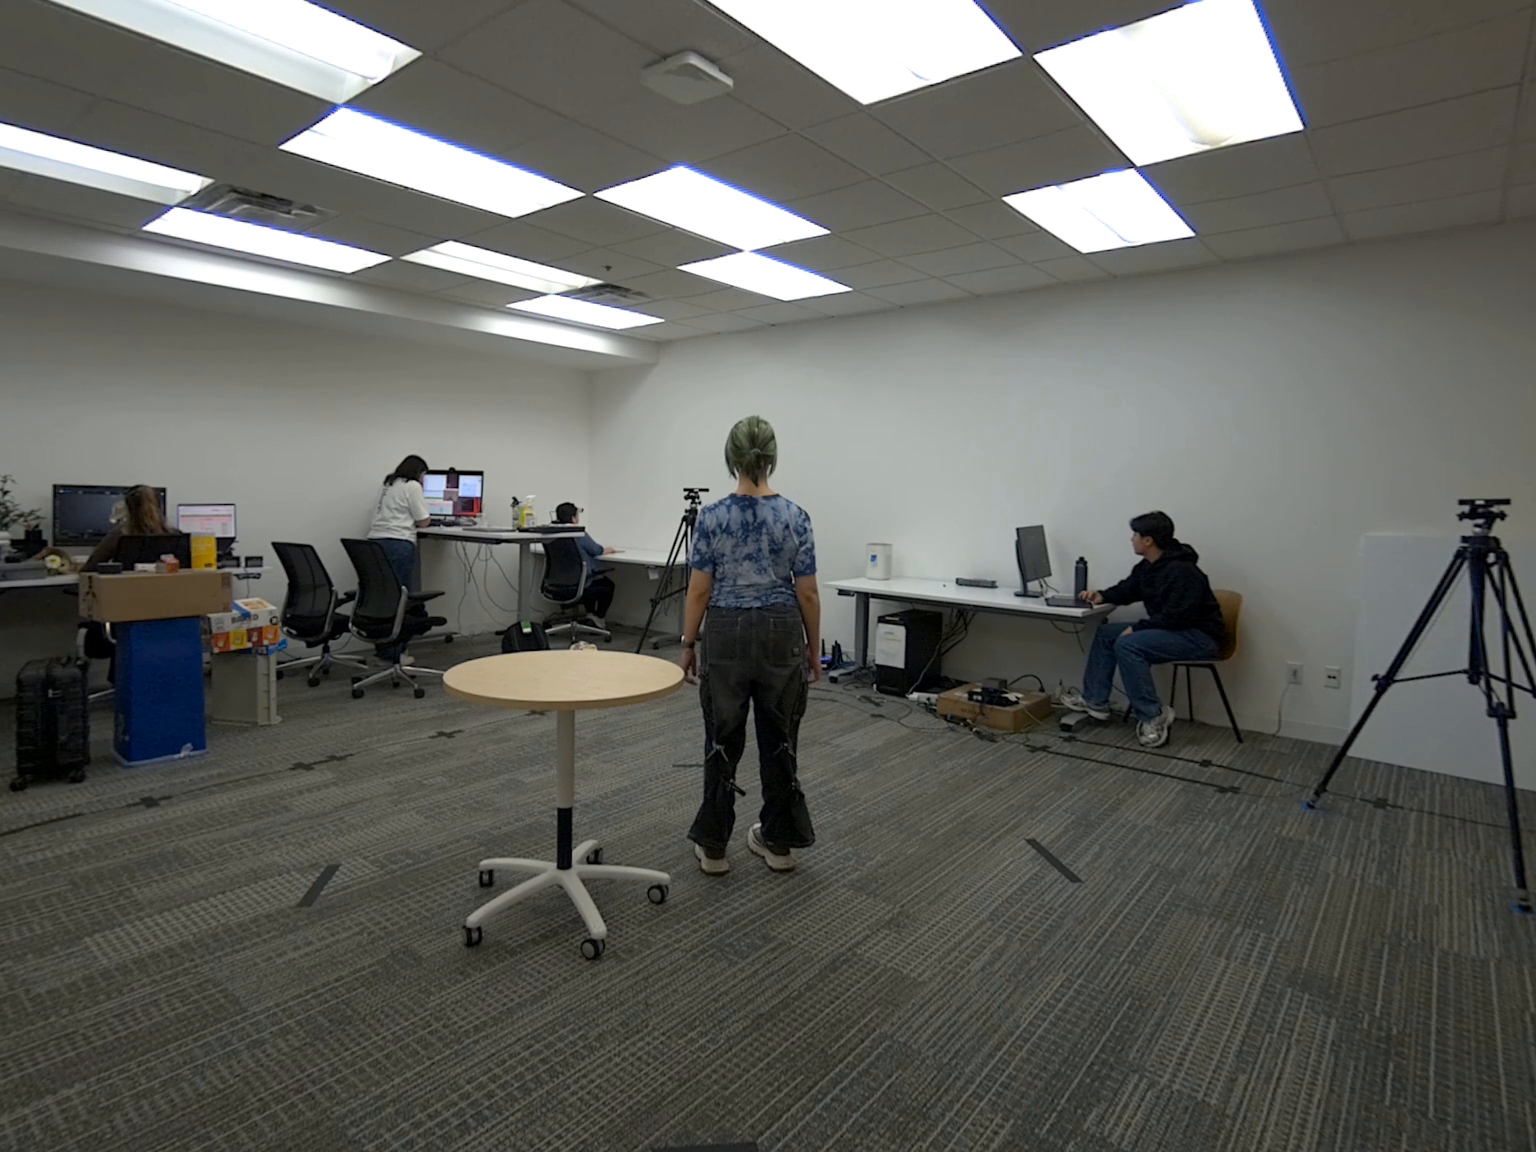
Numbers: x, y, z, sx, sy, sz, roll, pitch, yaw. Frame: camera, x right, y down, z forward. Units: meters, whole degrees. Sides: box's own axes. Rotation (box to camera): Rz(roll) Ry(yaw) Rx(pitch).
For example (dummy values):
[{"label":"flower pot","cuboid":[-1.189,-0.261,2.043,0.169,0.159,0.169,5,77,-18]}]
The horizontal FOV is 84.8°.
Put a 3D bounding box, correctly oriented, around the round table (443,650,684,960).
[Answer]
[{"label":"round table","cuboid":[-0.675,0.705,2.779,0.763,0.791,0.768,1,4,-2]}]
